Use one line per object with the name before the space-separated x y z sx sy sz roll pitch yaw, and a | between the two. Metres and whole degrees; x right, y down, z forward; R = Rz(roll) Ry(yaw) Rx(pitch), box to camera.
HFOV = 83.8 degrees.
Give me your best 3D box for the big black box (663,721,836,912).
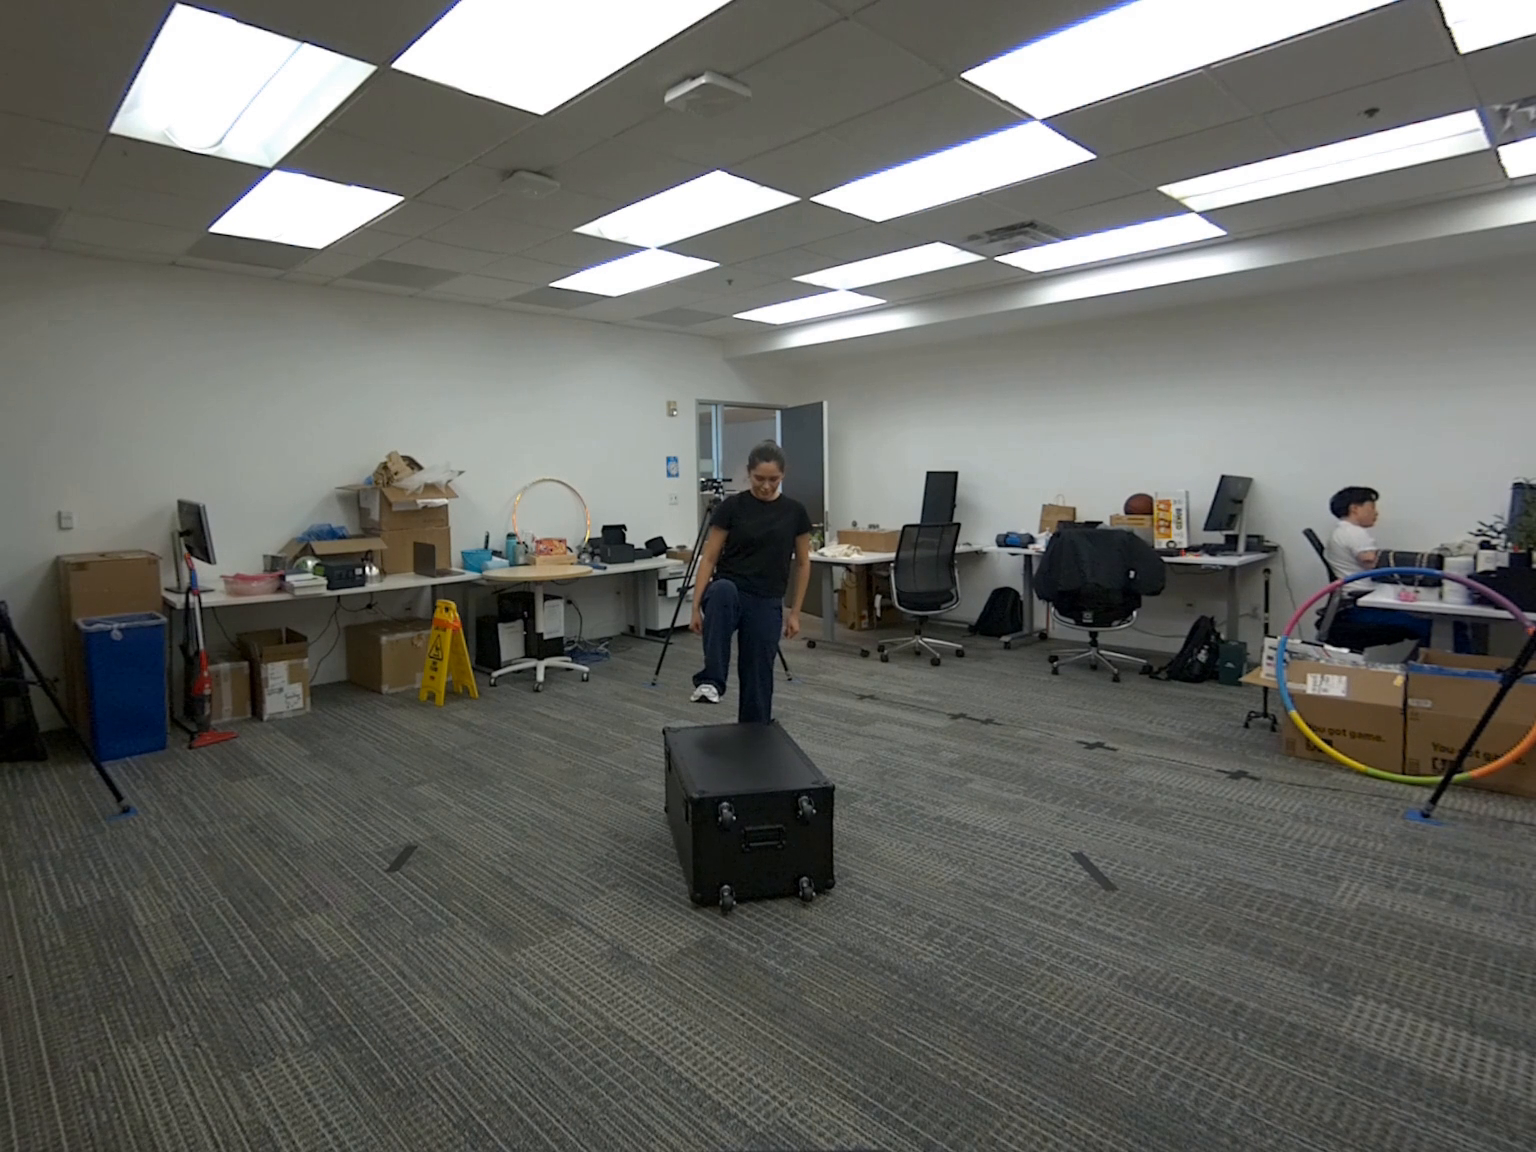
big black box | -0.099 0.842 3.164 0.515 0.395 0.875 -2 5 -13
